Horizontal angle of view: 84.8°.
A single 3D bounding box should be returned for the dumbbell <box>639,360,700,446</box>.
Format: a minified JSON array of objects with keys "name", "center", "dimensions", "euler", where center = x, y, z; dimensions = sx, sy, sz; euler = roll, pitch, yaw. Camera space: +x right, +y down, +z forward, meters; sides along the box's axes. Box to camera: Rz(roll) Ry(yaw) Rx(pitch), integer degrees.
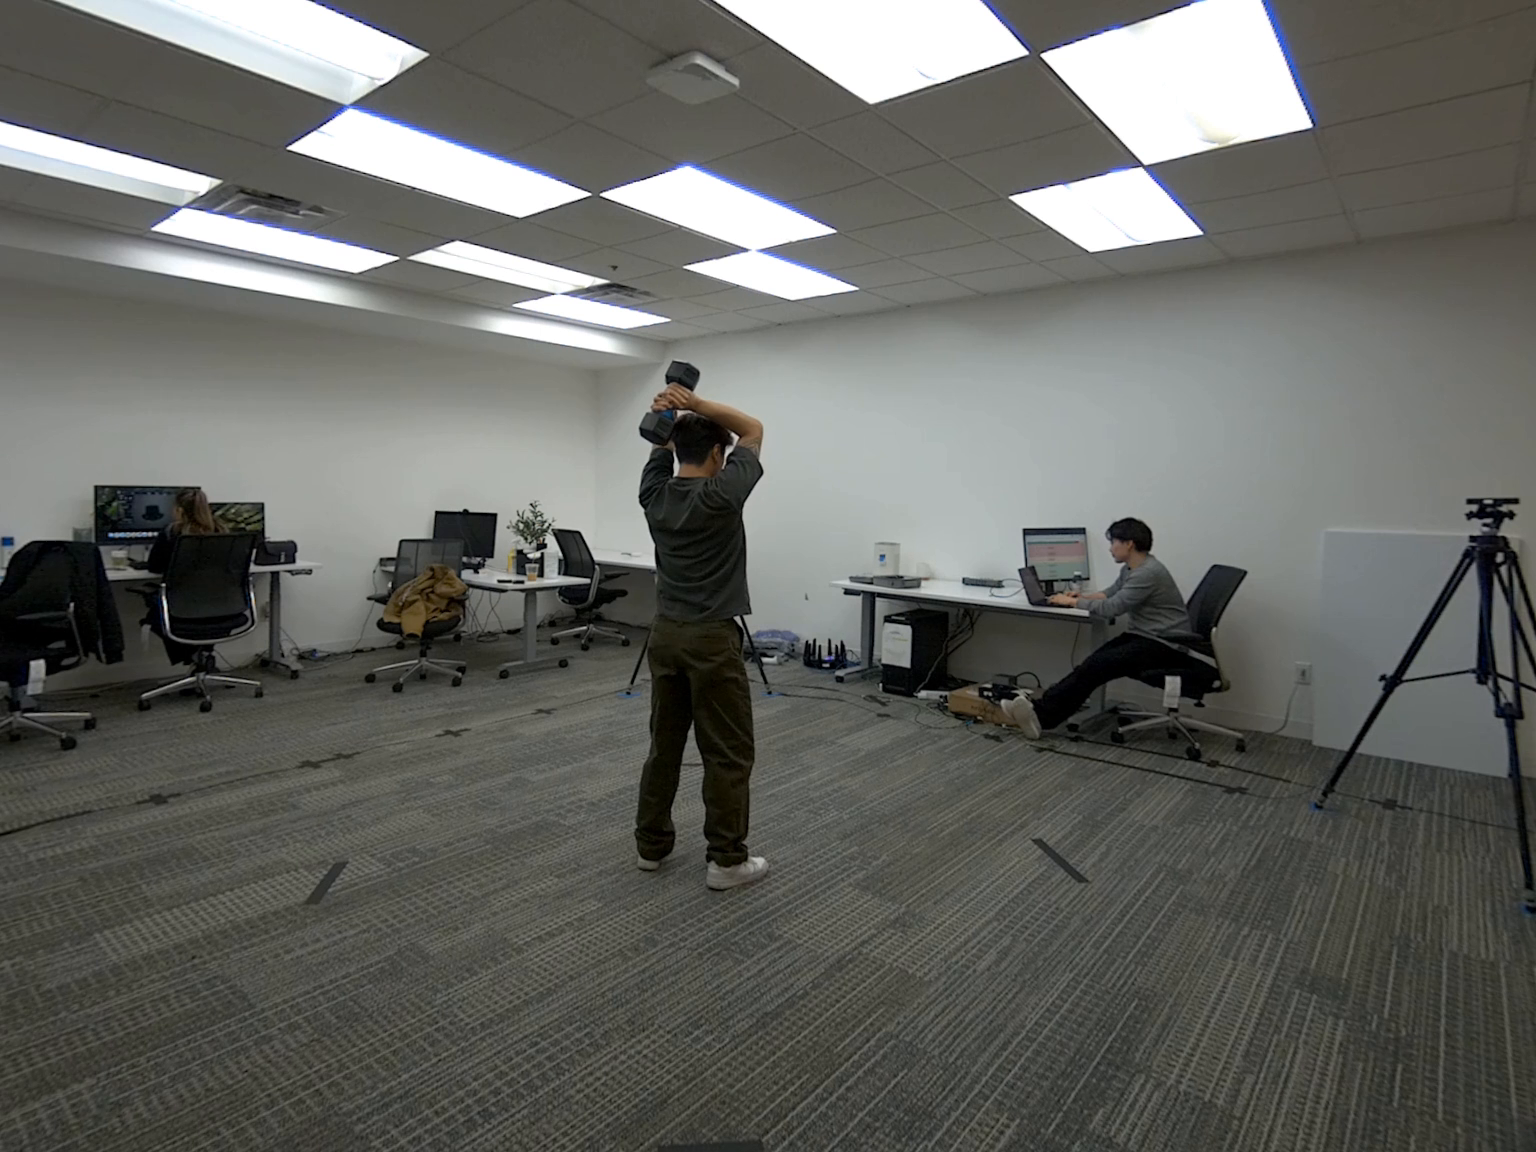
[{"name":"dumbbell","center":[-0.349,-0.606,2.950],"dimensions":[0.119,0.295,0.111],"euler":[31,-14,-25]}]
